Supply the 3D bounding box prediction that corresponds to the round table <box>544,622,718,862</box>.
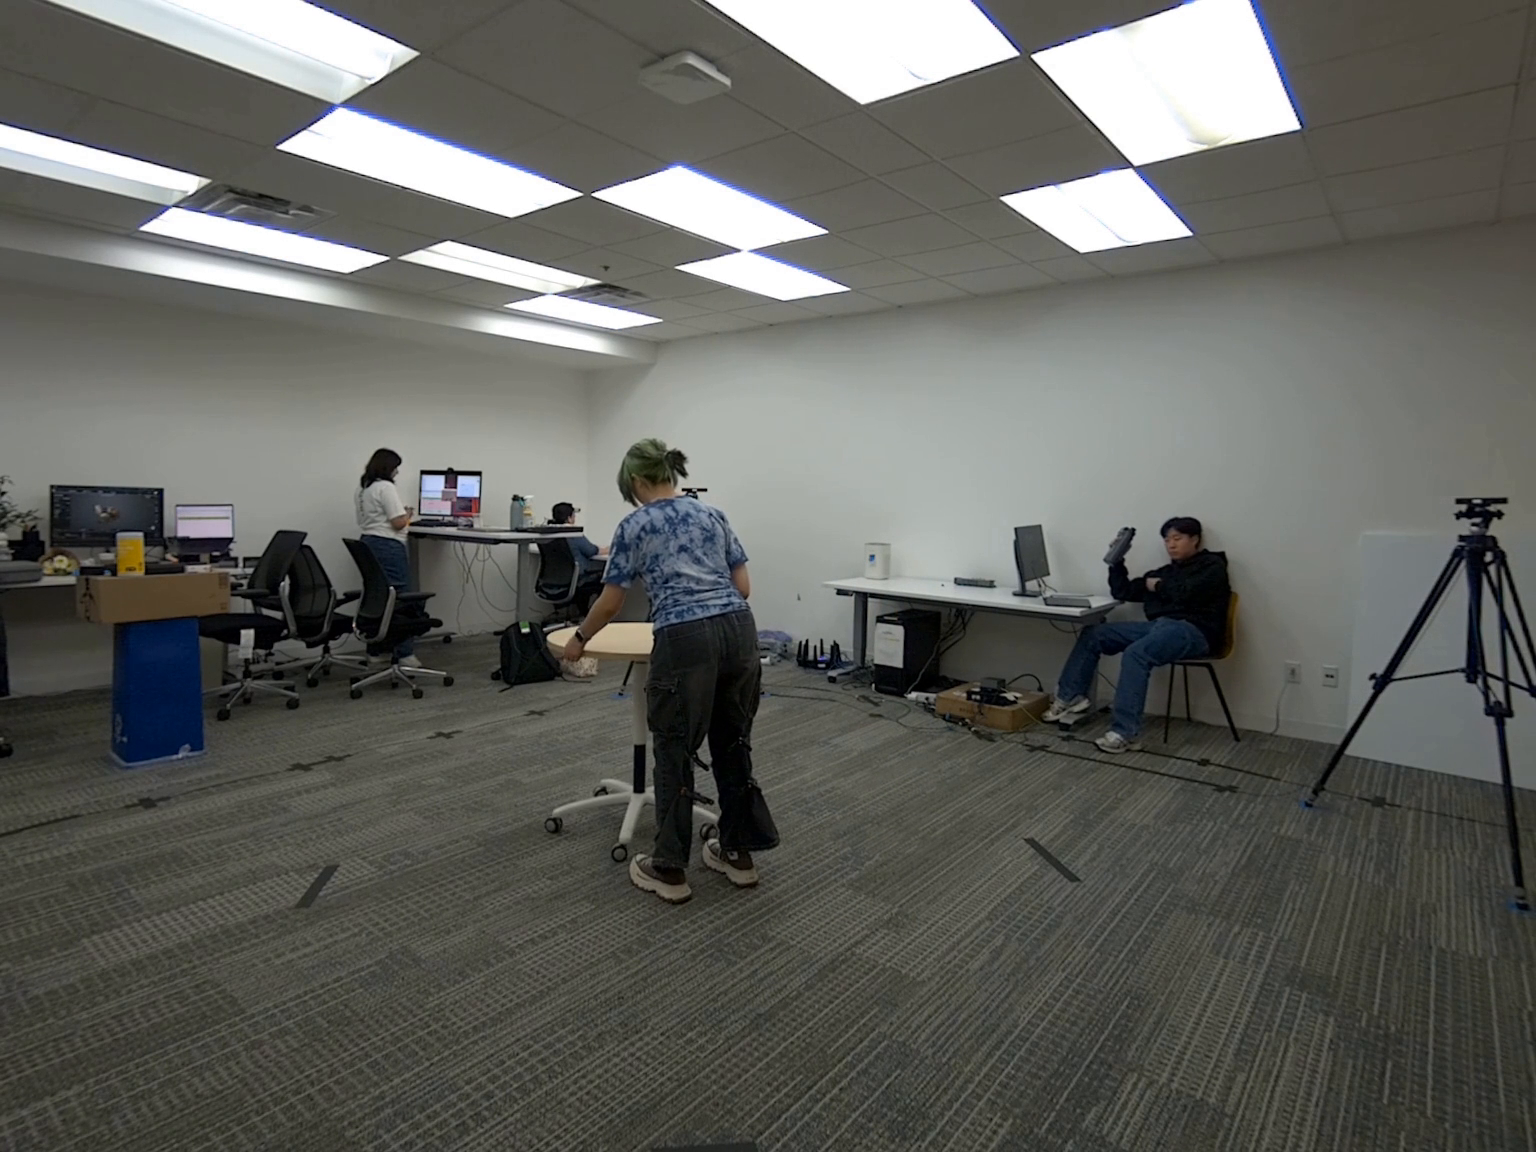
[{"bbox_3d":[-0.543,0.640,3.498,0.763,0.792,0.767,1,4,-2],"label":"round table"}]
